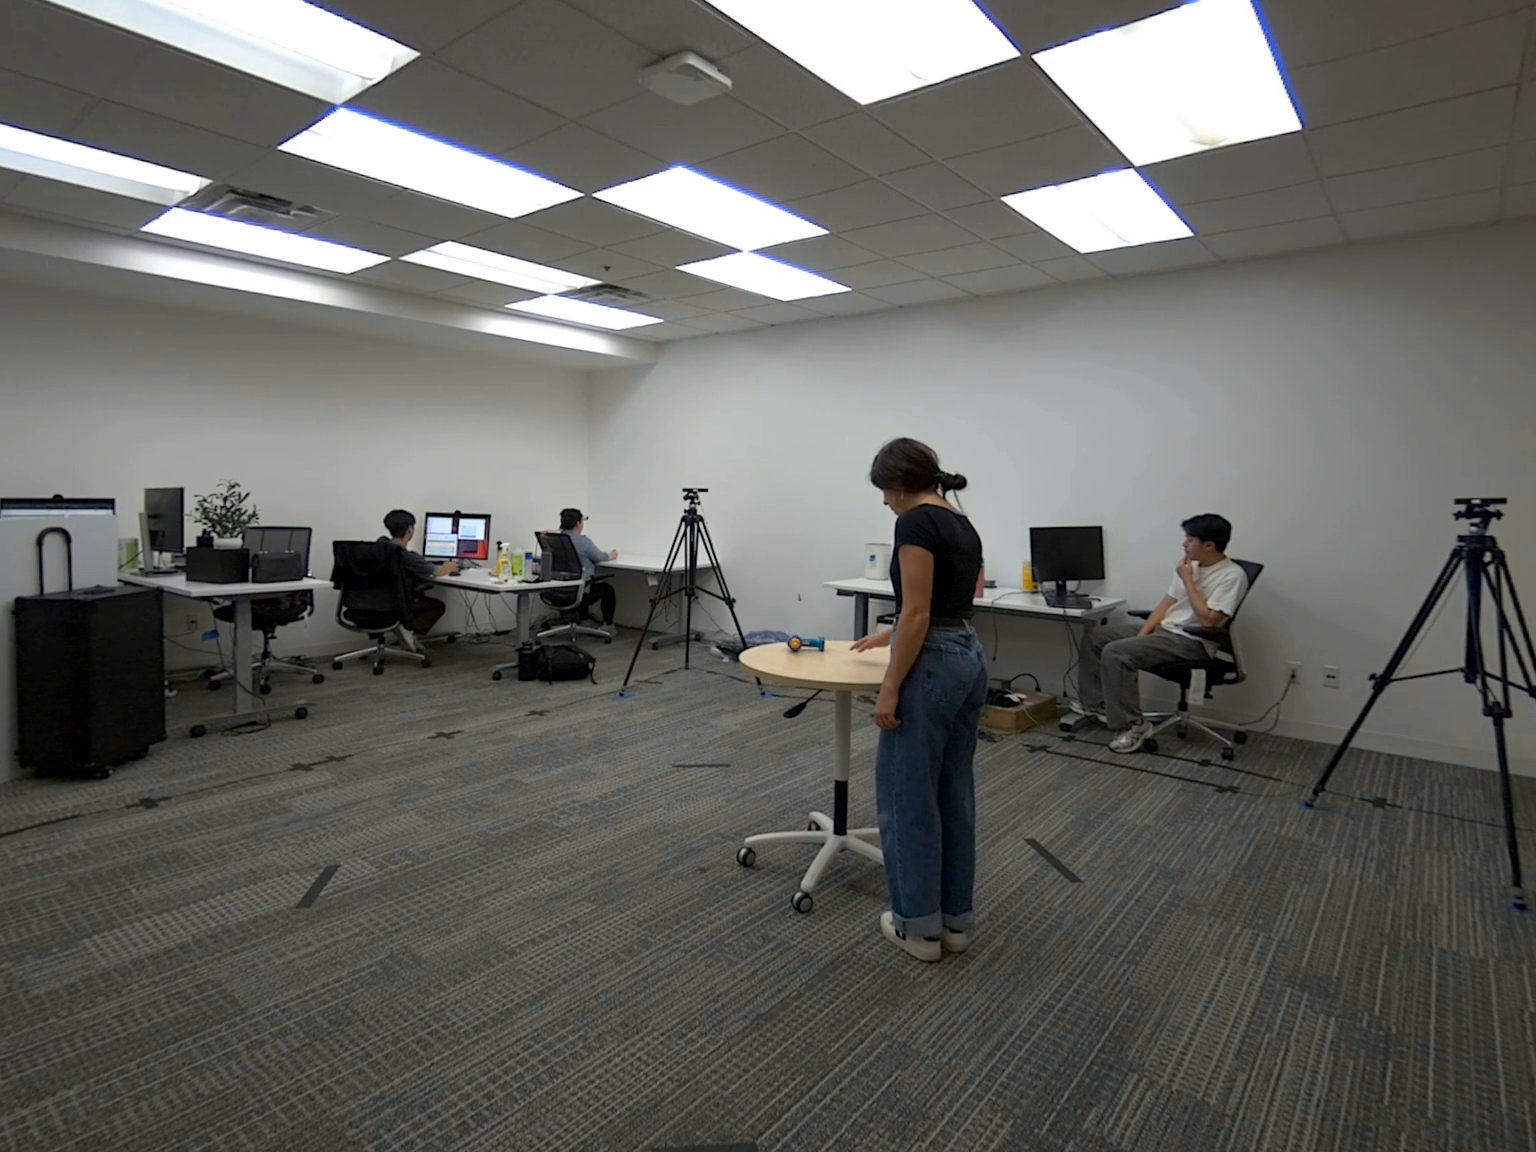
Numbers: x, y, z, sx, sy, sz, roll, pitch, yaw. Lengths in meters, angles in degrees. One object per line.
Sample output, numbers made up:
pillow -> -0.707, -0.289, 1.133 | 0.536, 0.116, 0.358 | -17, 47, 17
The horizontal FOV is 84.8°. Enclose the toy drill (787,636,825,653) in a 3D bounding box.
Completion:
toy drill -> 0.143, 0.247, 3.220 | 0.146, 0.061, 0.169 | 2, -1, 2
